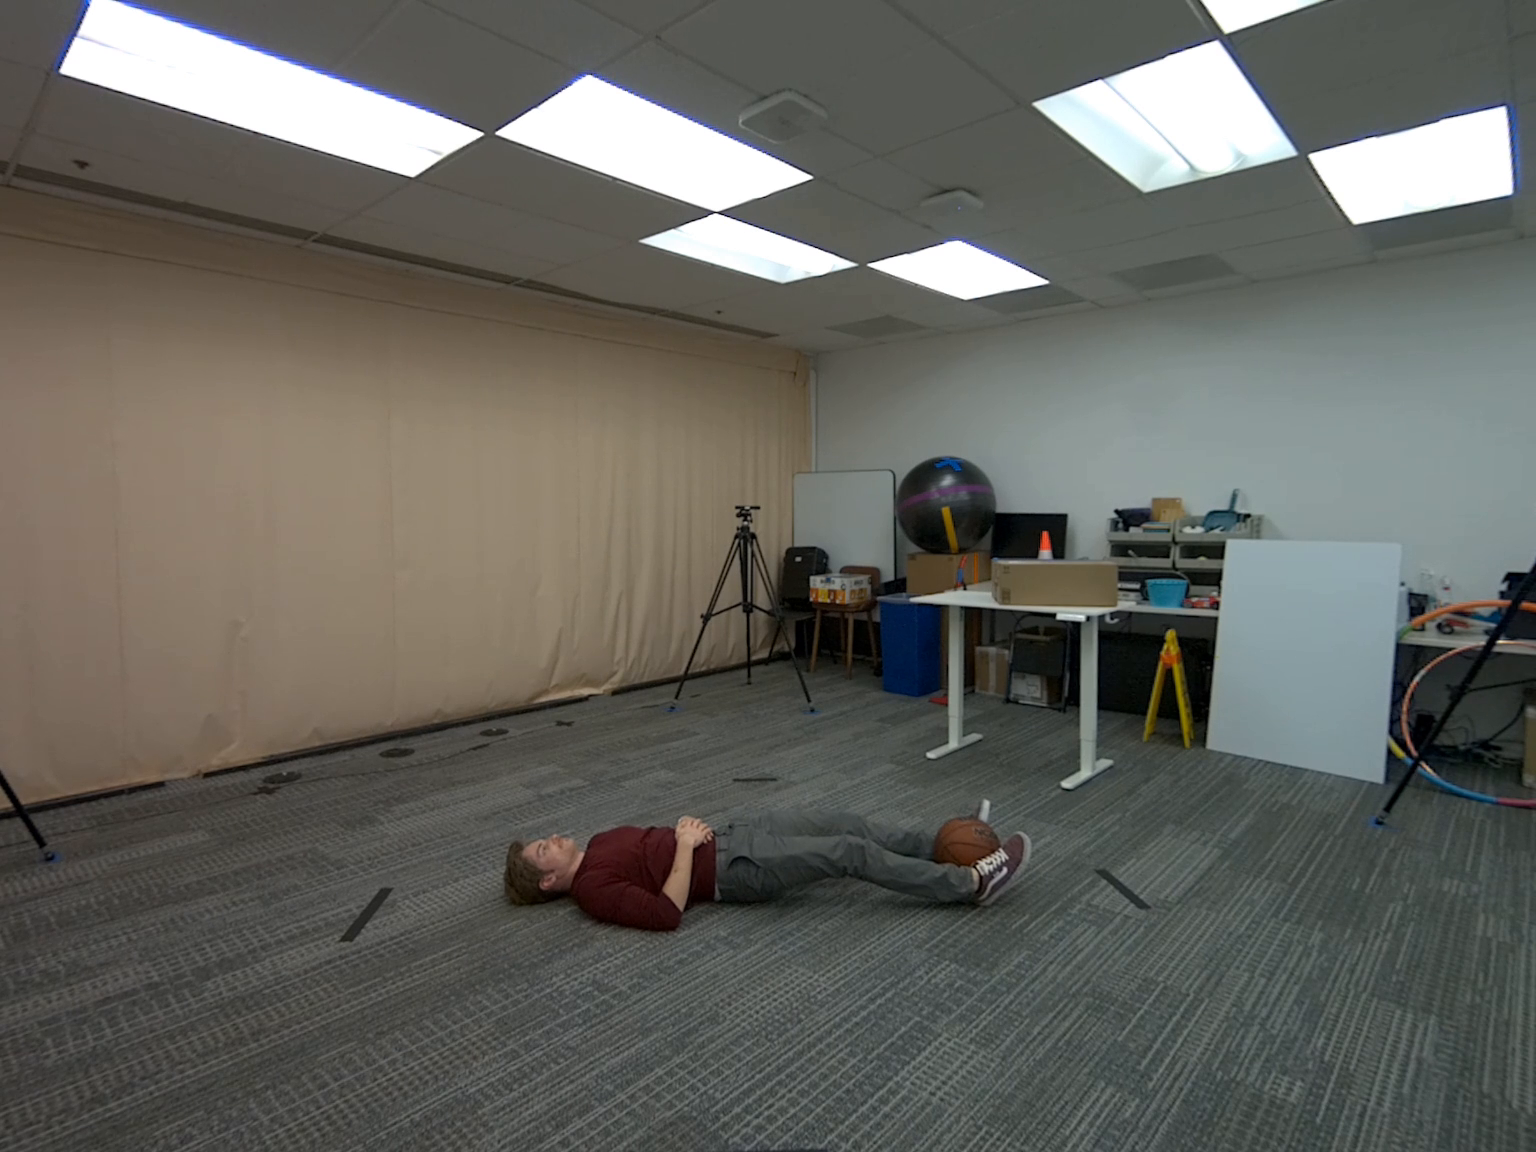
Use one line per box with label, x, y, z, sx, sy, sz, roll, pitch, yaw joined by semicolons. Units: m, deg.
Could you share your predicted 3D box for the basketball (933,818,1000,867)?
basketball;0.736;0.999;3.057;0.235;0.235;0.237;3;5;-2
